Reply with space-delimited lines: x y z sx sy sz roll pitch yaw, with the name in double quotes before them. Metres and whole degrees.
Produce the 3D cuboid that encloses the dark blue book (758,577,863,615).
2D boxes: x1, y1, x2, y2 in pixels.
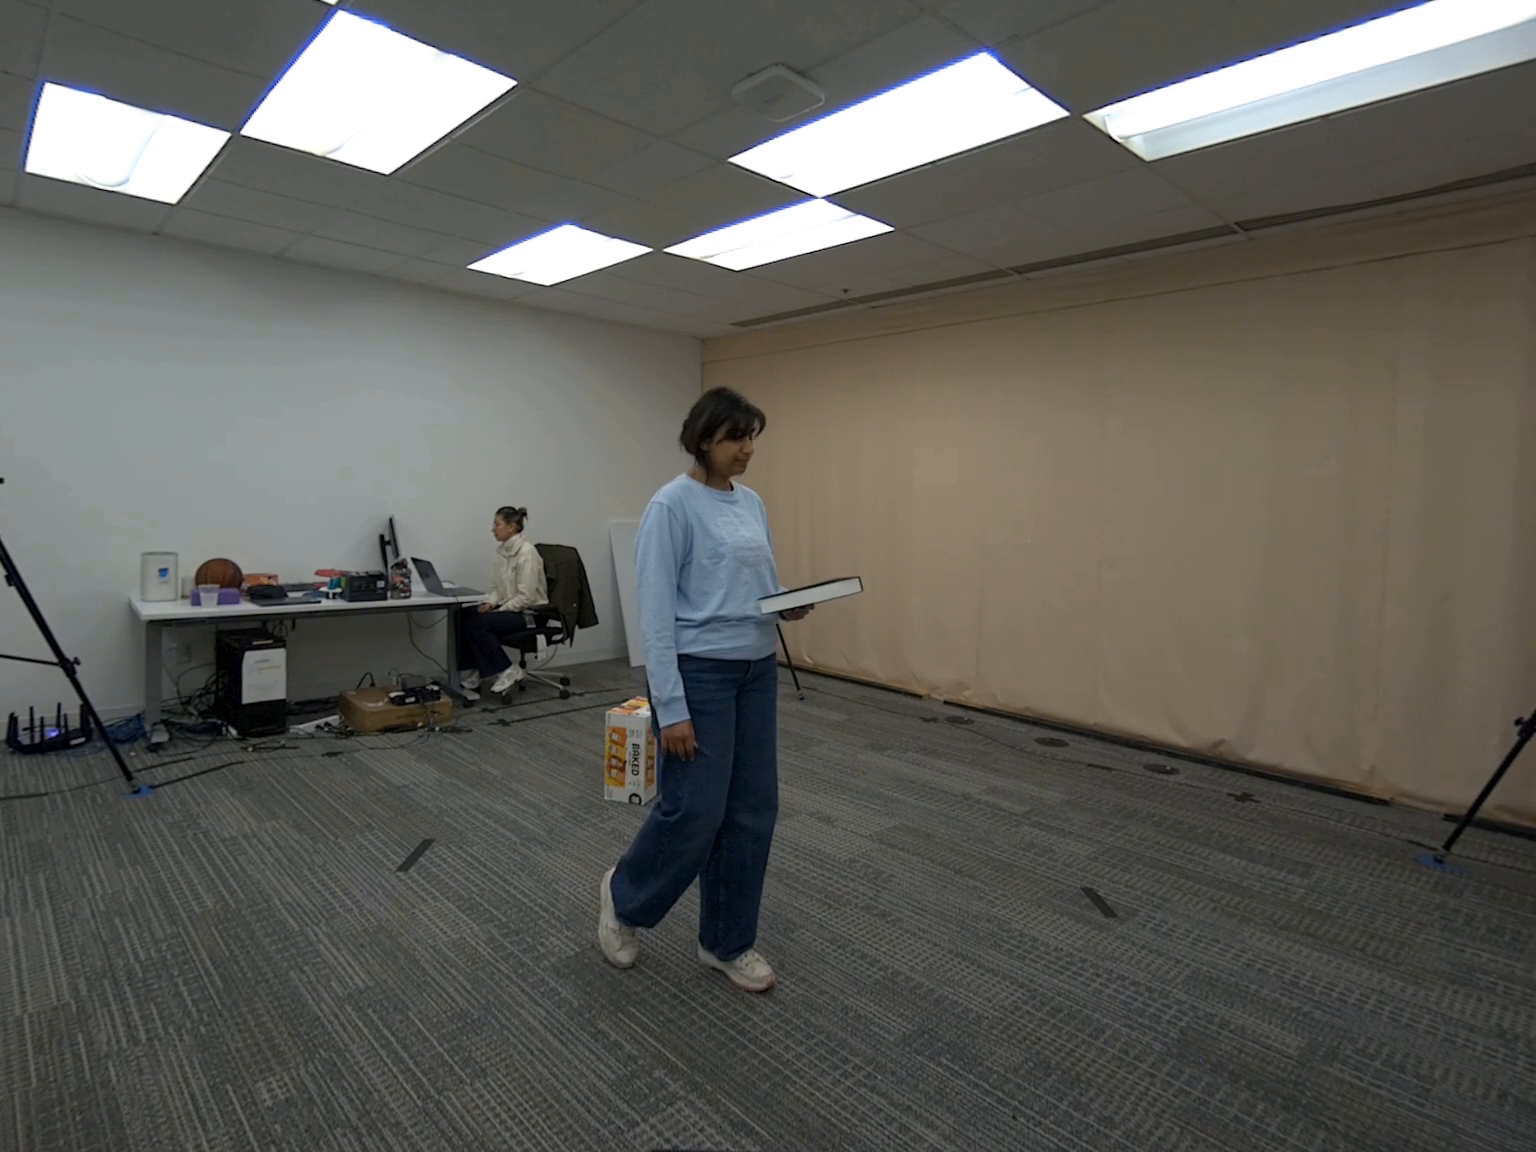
"dark blue book" 0.110 0.053 2.275 0.247 0.045 0.161 -12 -2 16
